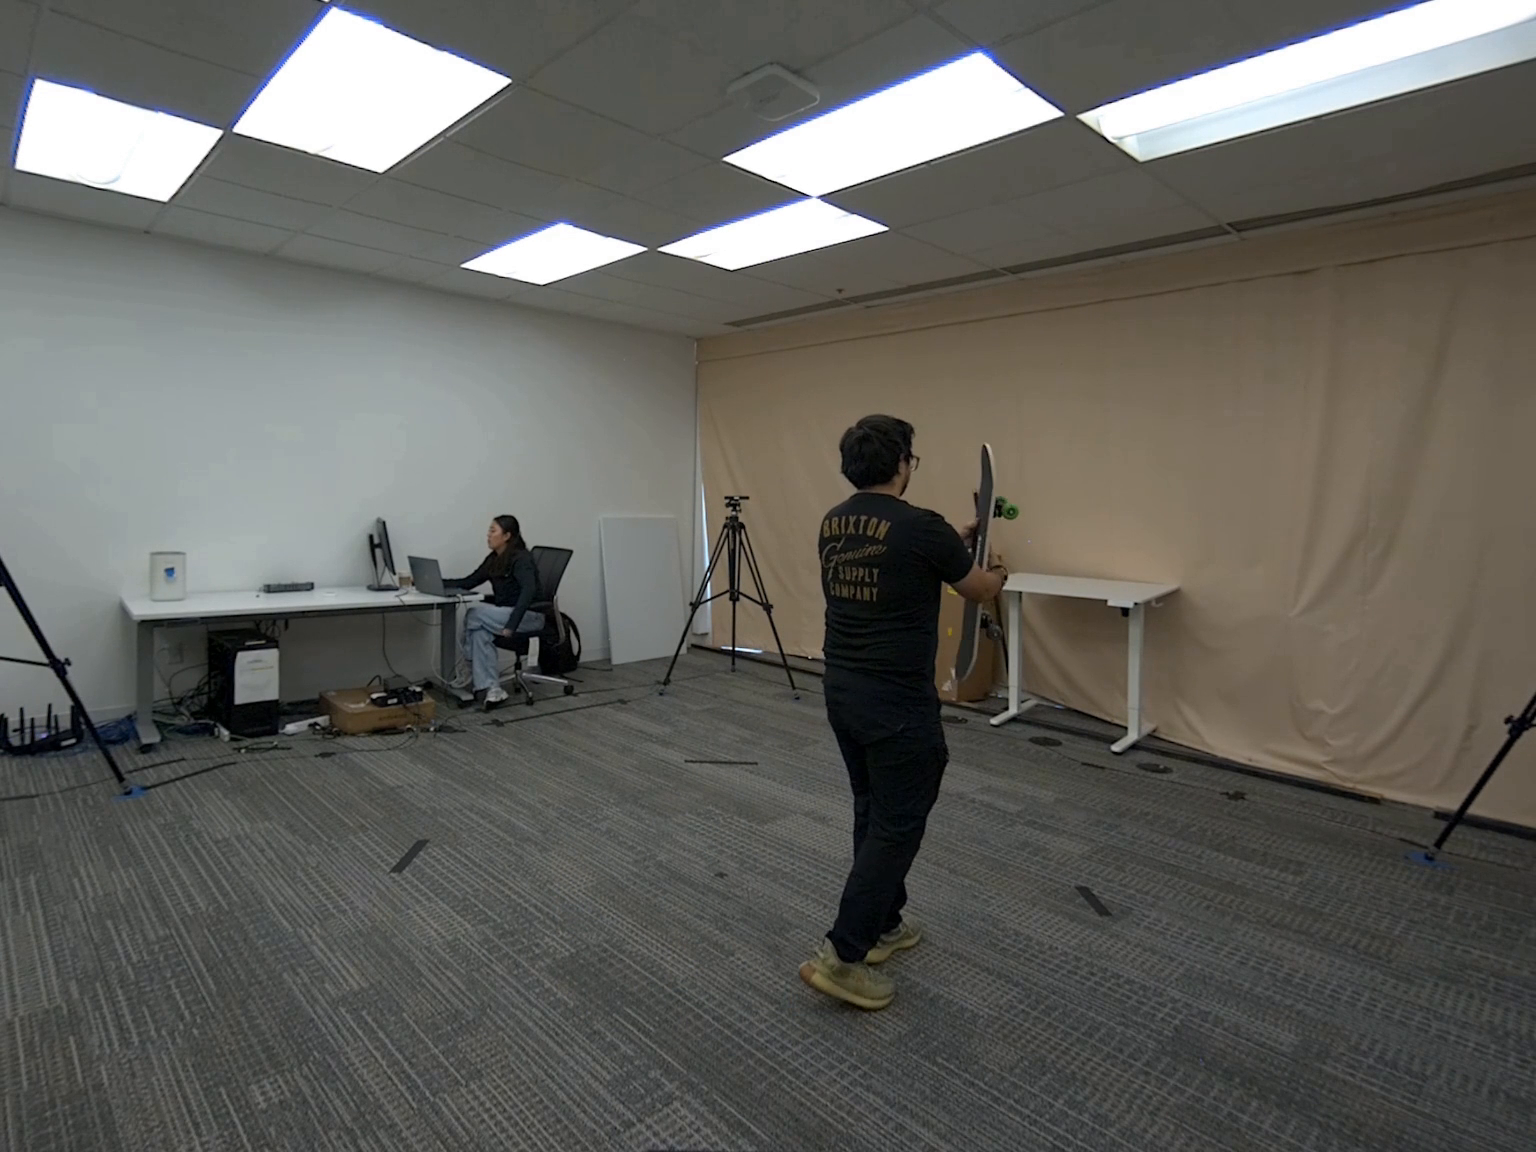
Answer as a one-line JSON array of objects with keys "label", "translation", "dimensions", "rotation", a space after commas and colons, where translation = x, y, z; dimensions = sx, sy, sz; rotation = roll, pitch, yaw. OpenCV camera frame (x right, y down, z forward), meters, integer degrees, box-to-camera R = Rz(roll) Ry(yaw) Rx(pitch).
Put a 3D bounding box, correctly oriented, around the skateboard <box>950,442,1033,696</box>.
[{"label": "skateboard", "translation": [0.709, -0.022, 2.723], "dimensions": [0.110, 0.777, 0.195], "rotation": [4, 15, 1]}]
